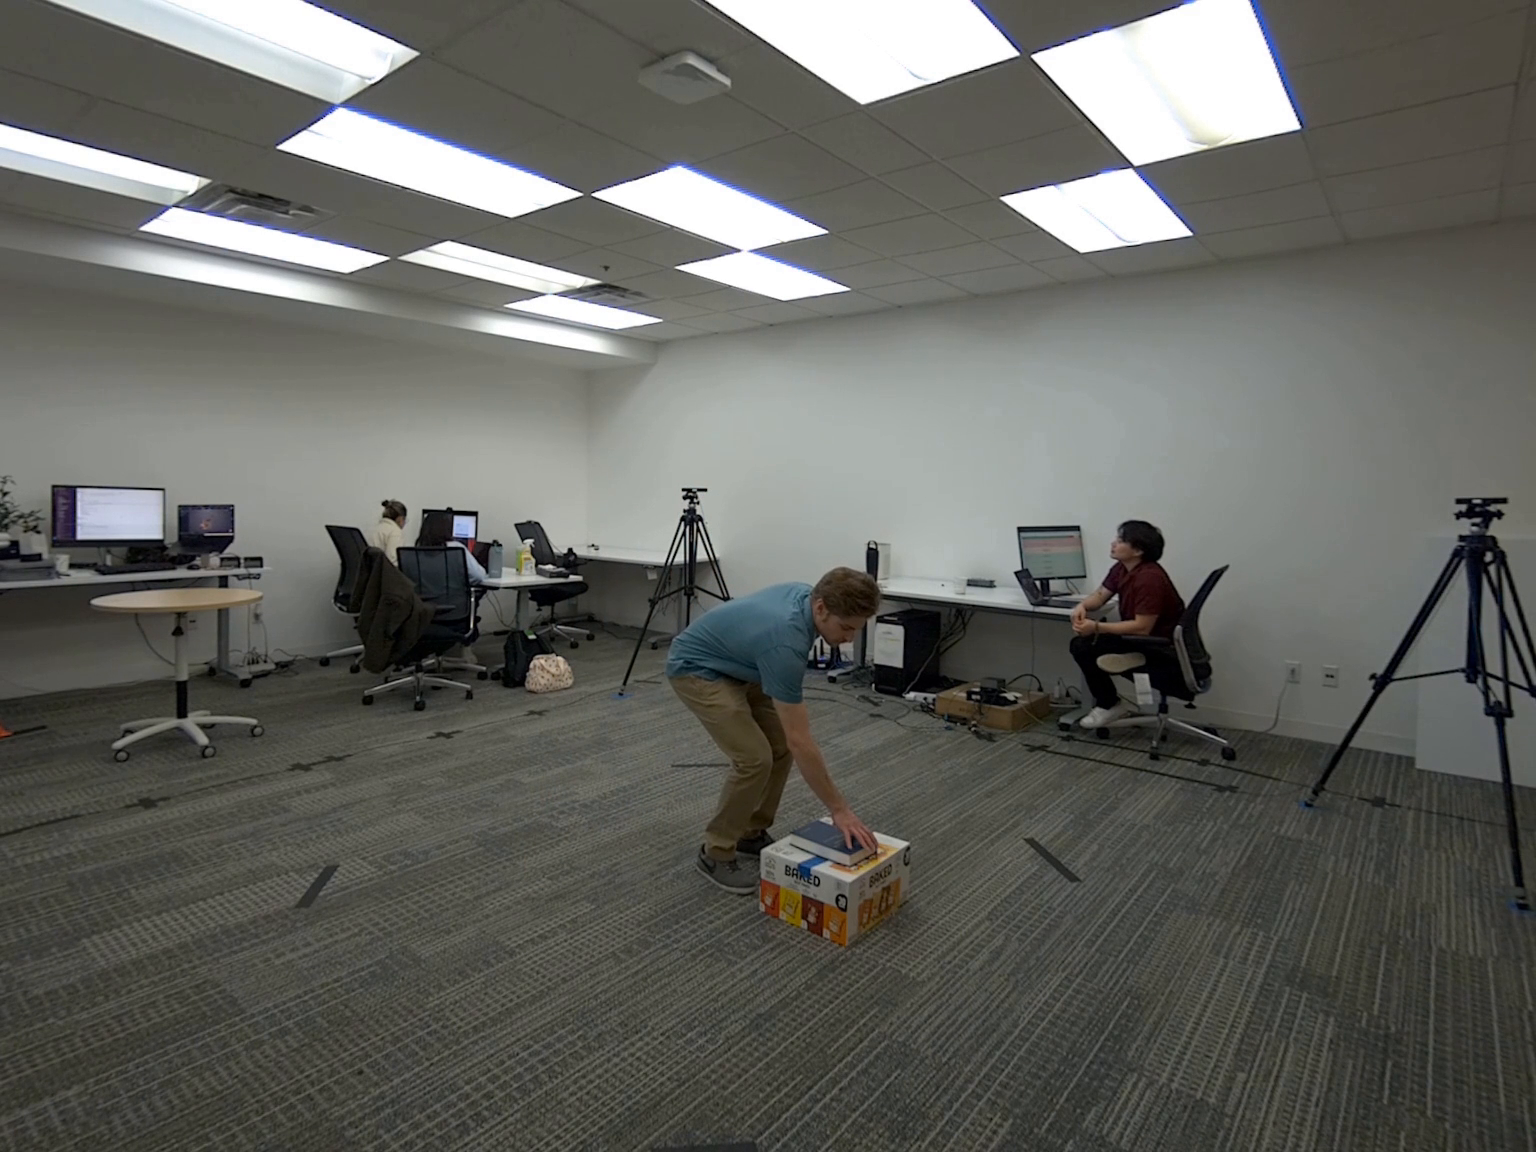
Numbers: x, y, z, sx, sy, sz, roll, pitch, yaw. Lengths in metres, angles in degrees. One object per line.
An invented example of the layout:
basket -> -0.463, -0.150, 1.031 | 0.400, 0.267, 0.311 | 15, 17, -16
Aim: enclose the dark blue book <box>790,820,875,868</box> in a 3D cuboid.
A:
dark blue book -> 0.209, 0.890, 2.838 | 0.254, 0.045, 0.158 | 9, 9, 42
